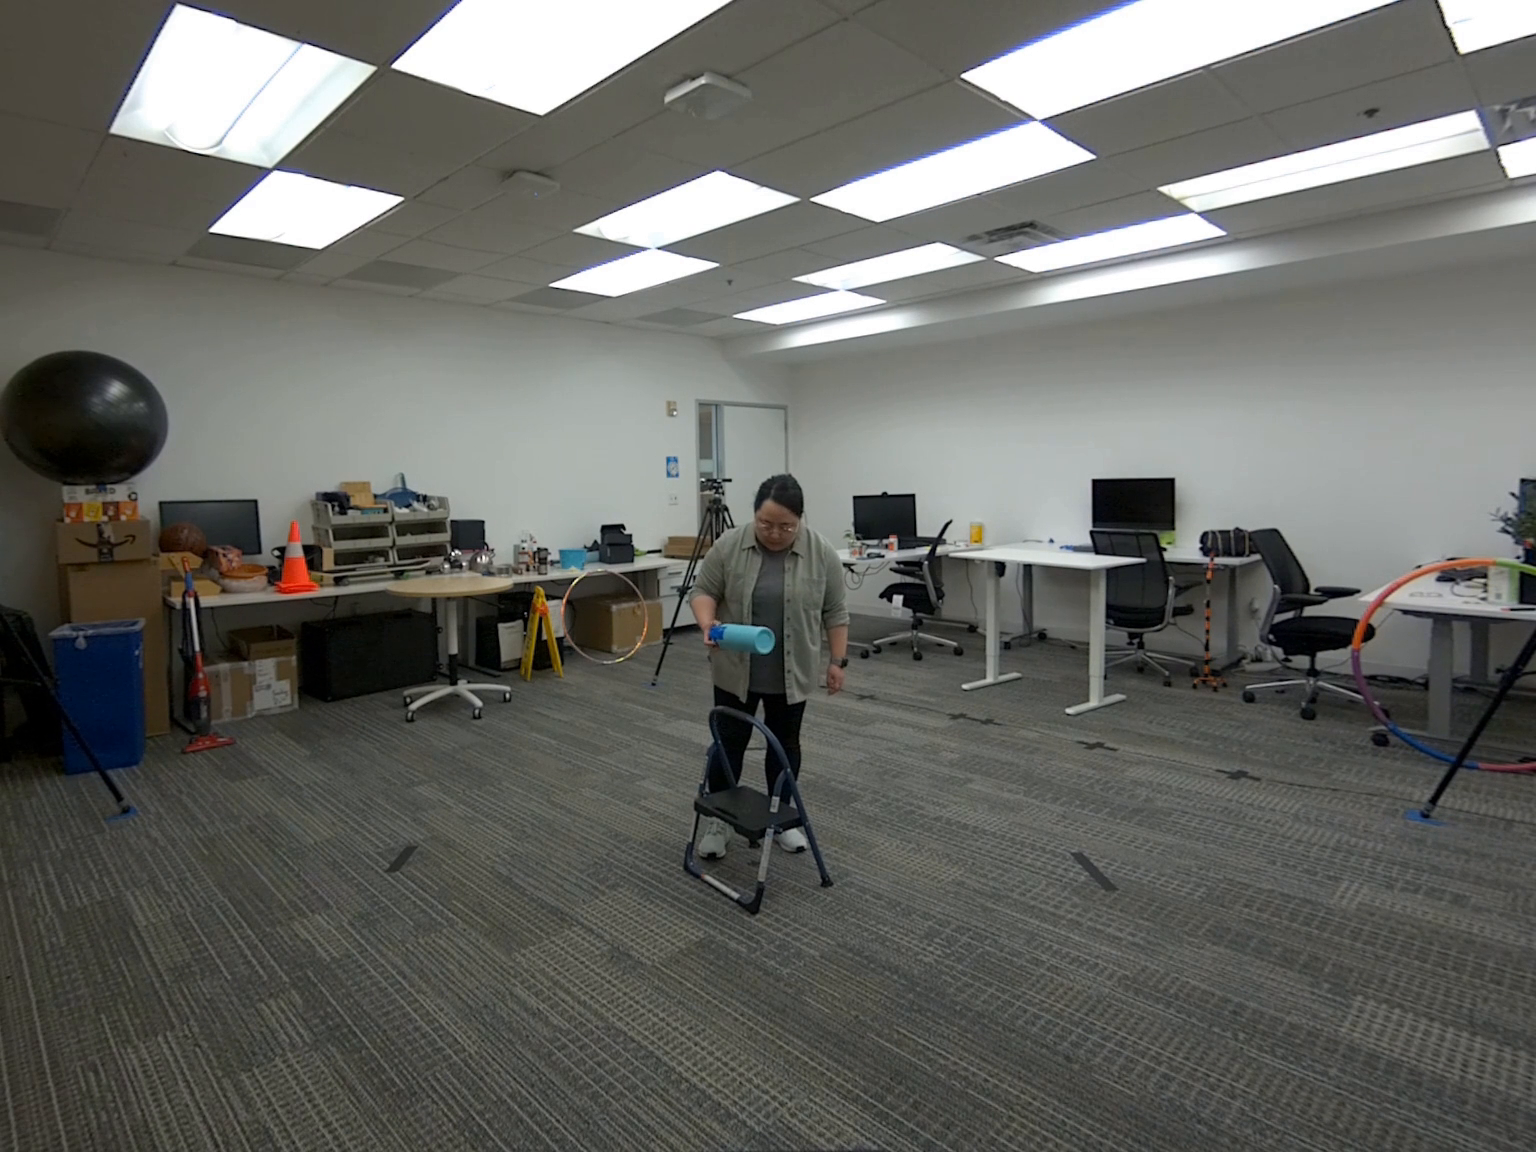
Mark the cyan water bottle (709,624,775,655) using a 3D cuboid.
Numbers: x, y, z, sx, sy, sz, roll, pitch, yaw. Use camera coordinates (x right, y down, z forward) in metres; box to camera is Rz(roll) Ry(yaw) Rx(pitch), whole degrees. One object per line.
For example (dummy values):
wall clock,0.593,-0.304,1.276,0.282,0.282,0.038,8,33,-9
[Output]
cyan water bottle,-0.109,0.218,2.943,0.090,0.092,0.291,-4,3,-35
